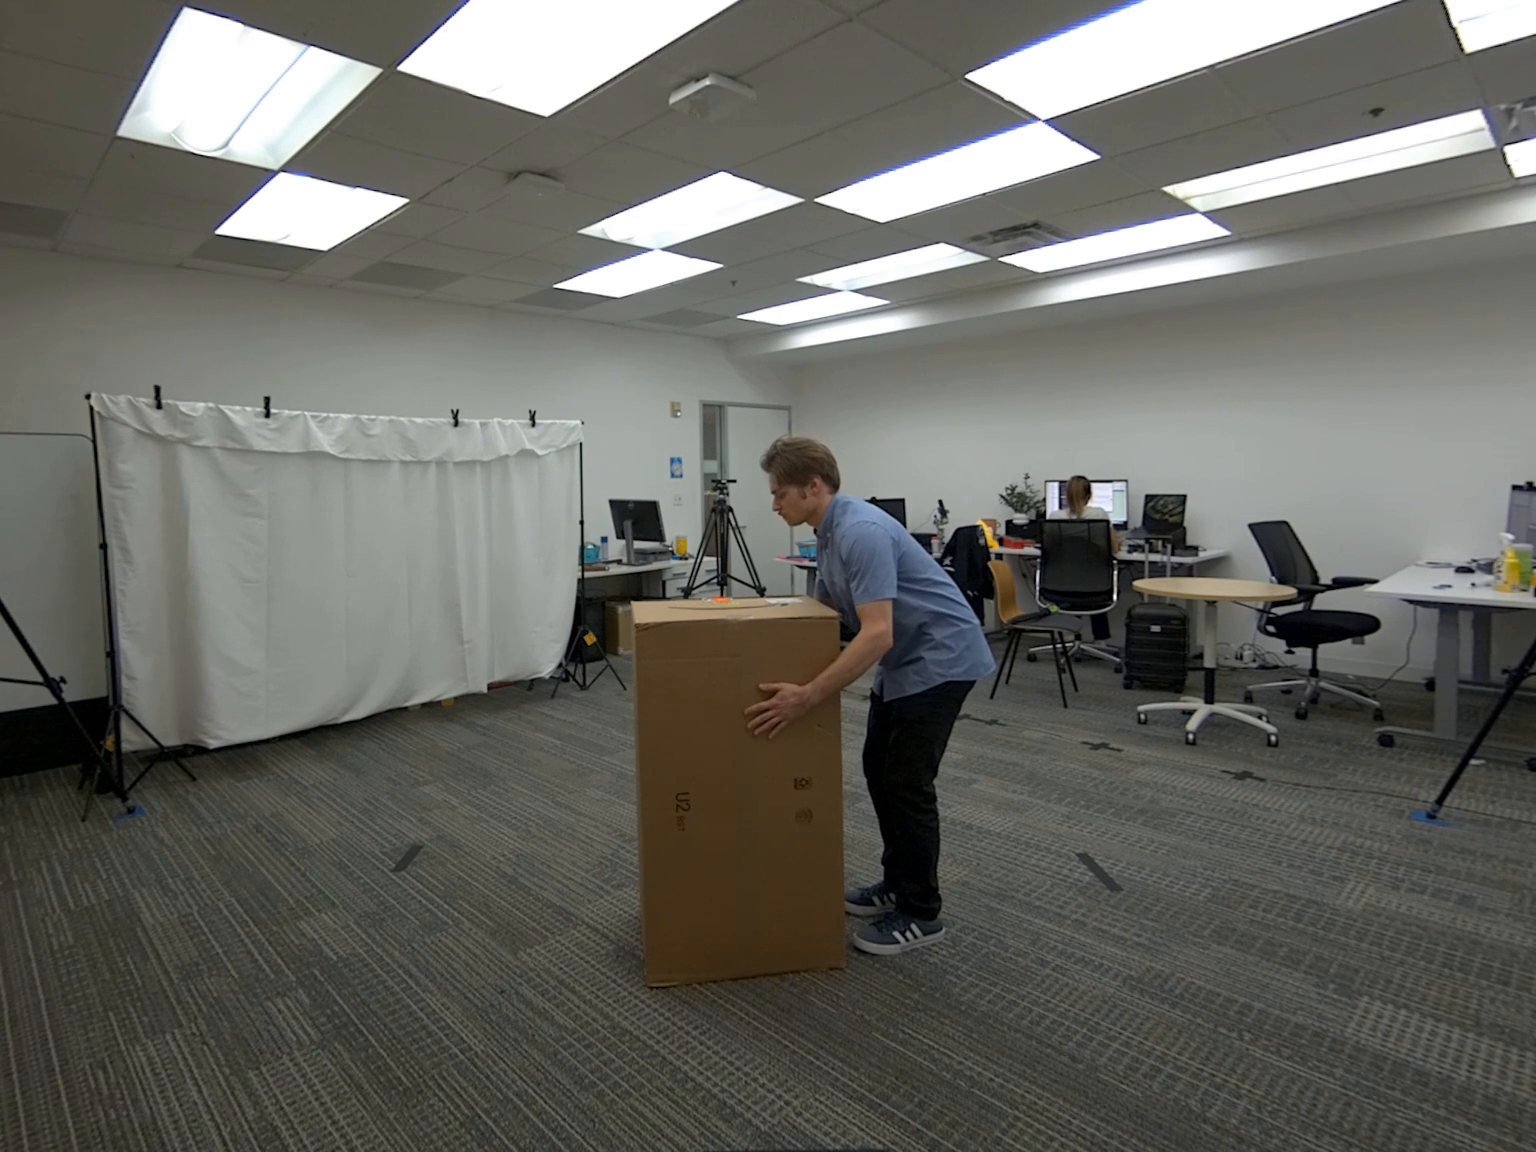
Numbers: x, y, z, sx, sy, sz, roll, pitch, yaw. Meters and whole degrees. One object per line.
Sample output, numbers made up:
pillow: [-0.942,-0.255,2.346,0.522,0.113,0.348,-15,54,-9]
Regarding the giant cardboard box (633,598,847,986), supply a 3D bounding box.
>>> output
giant cardboard box: [-0.113,0.611,2.575,0.580,1.023,0.452,-4,4,-8]
